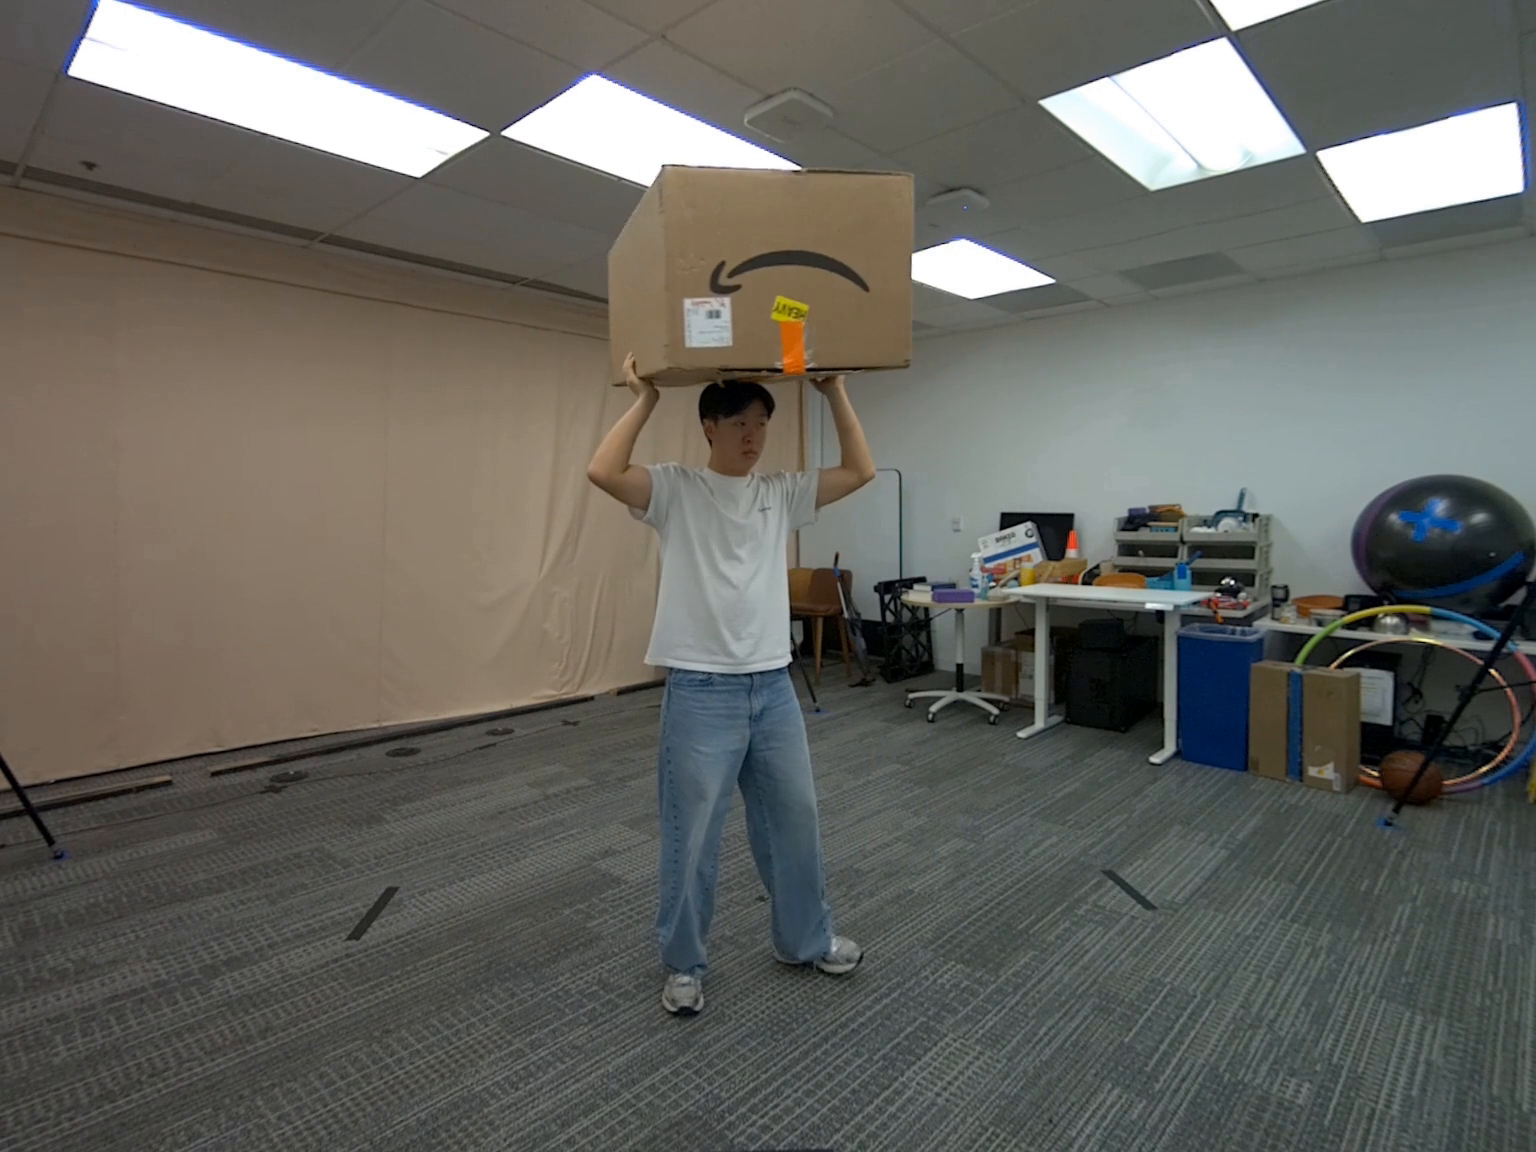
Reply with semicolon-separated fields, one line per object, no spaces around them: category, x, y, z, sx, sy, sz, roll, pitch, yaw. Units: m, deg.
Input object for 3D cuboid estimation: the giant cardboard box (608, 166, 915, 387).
giant cardboard box;-0.083;-0.760;2.335;0.569;0.423;1.047;-4;11;-15
